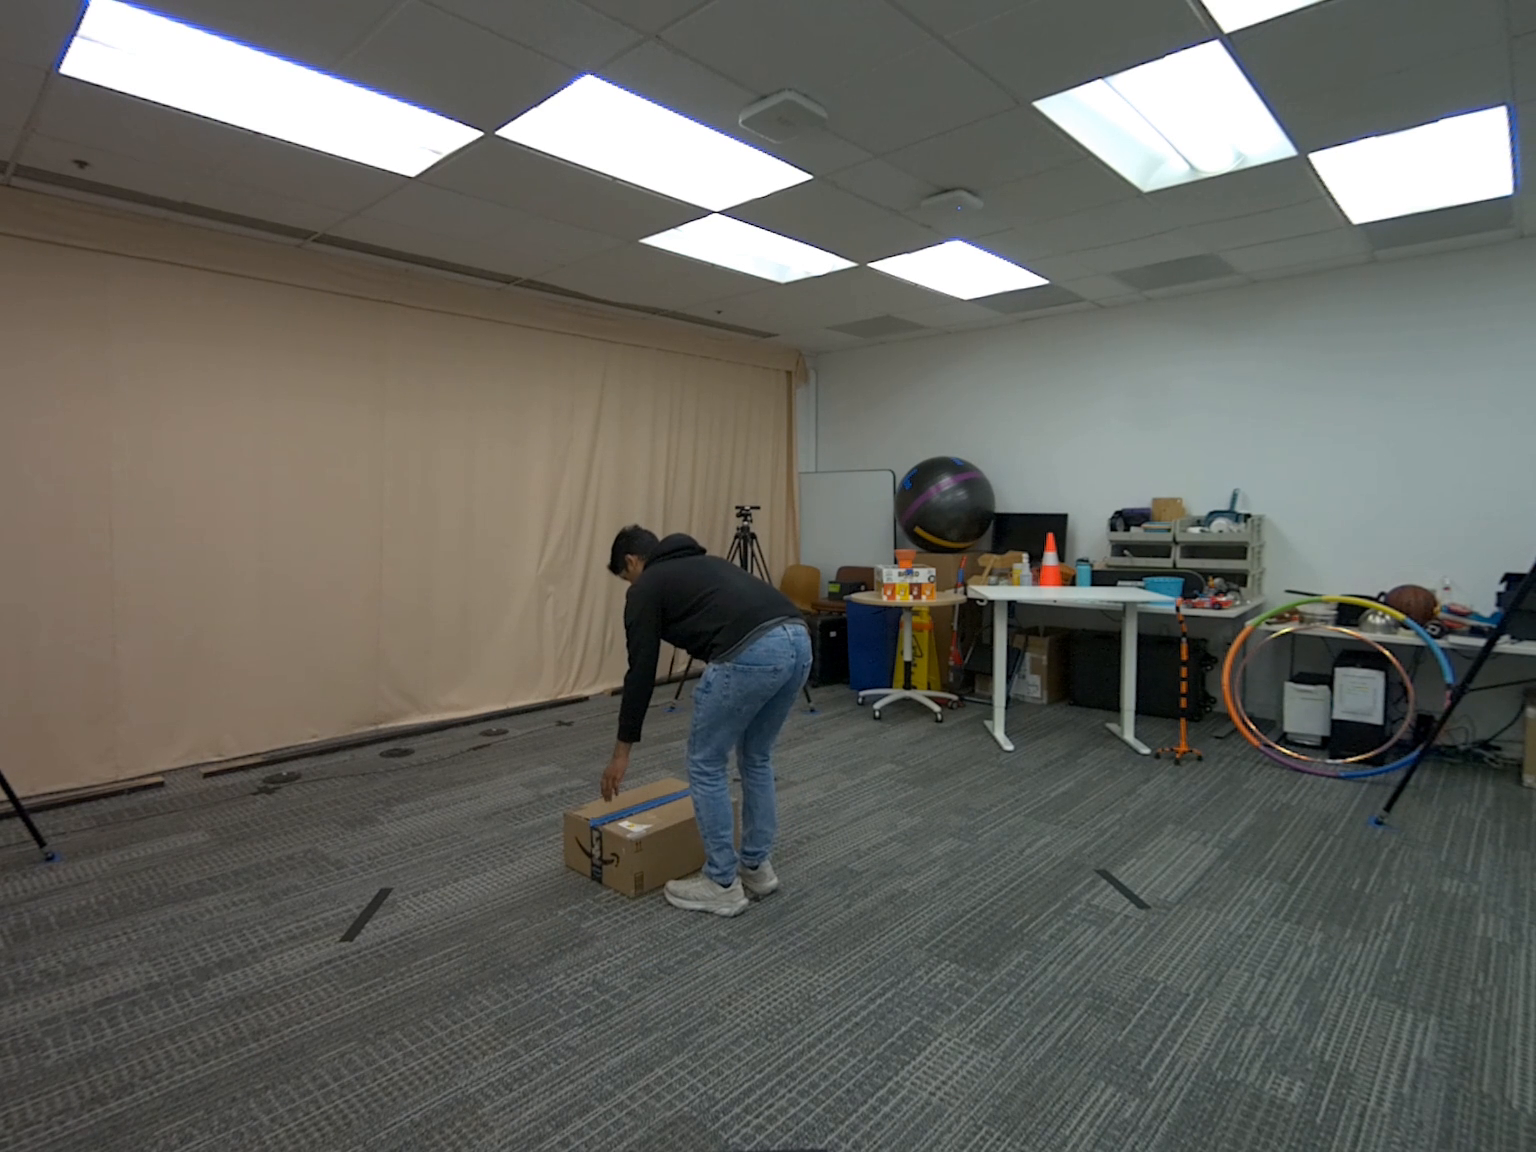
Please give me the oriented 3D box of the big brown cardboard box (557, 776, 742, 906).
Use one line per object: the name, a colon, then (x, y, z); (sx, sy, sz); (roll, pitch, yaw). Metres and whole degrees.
big brown cardboard box: (-0.459, 1.010, 3.320); (0.431, 0.233, 0.571); (3, 5, 42)
